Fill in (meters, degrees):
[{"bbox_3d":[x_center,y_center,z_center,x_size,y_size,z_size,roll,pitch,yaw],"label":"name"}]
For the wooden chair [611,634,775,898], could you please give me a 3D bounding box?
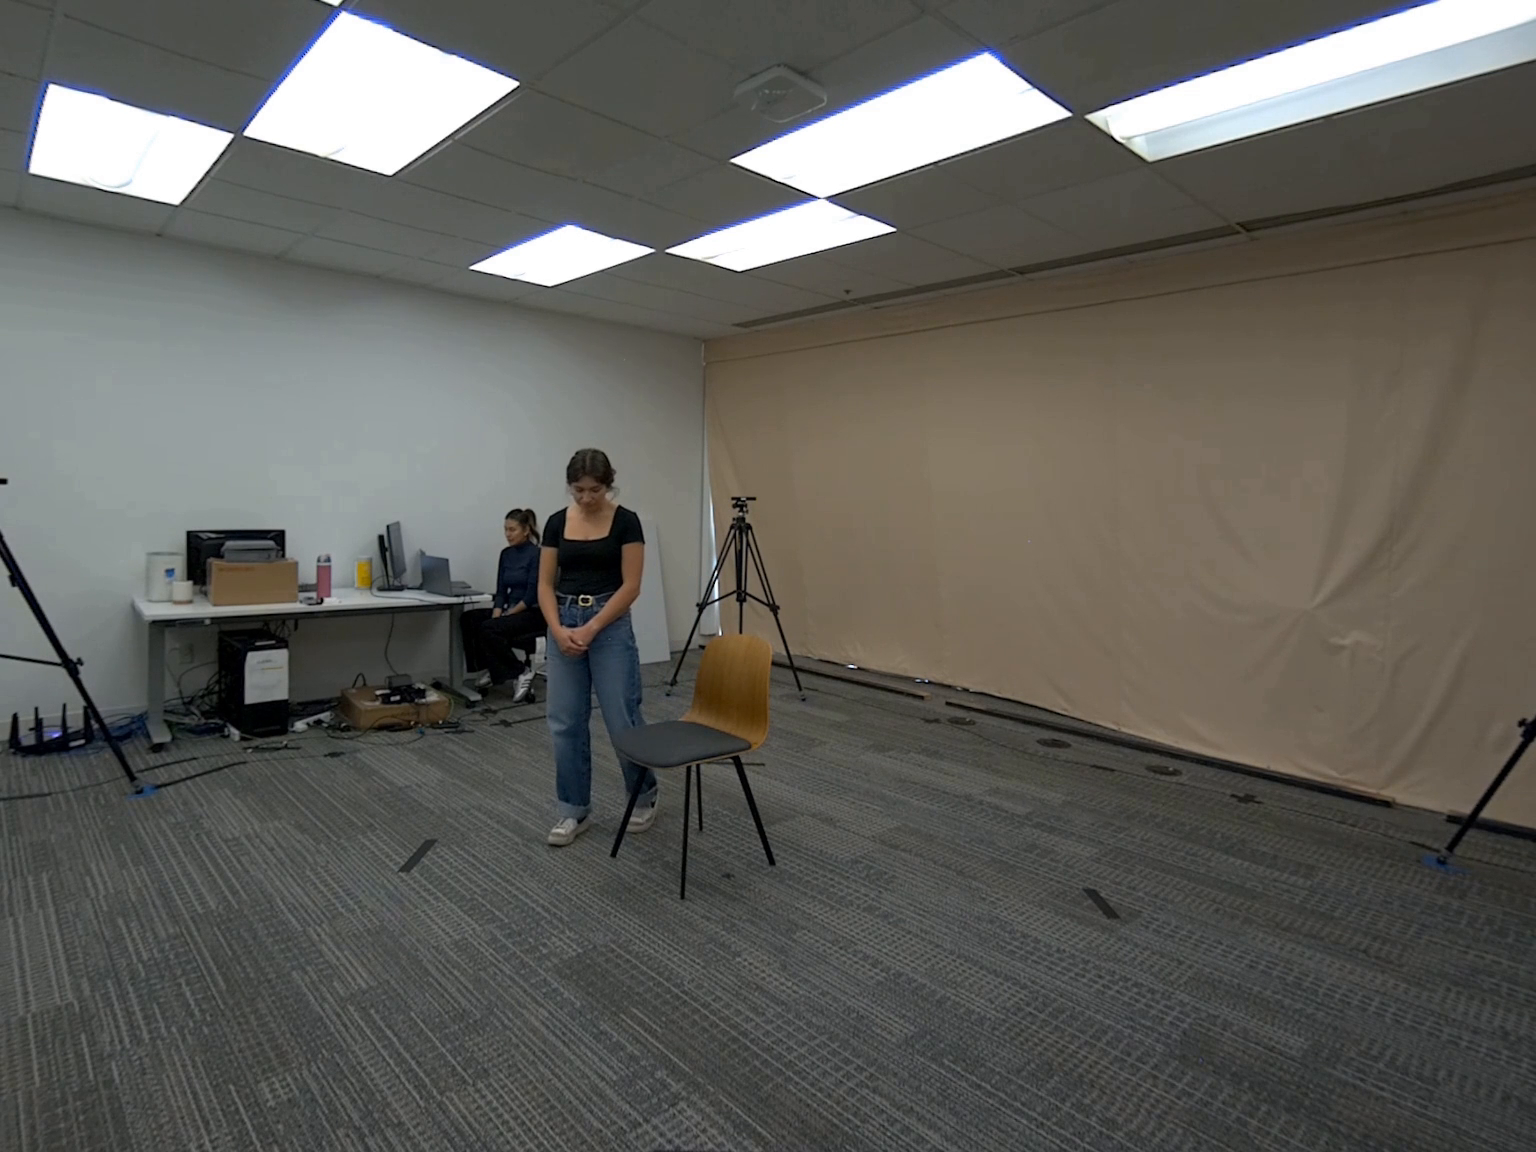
[{"bbox_3d":[-0.287,0.670,3.183,0.510,0.877,0.490,4,0,-43],"label":"wooden chair"}]
